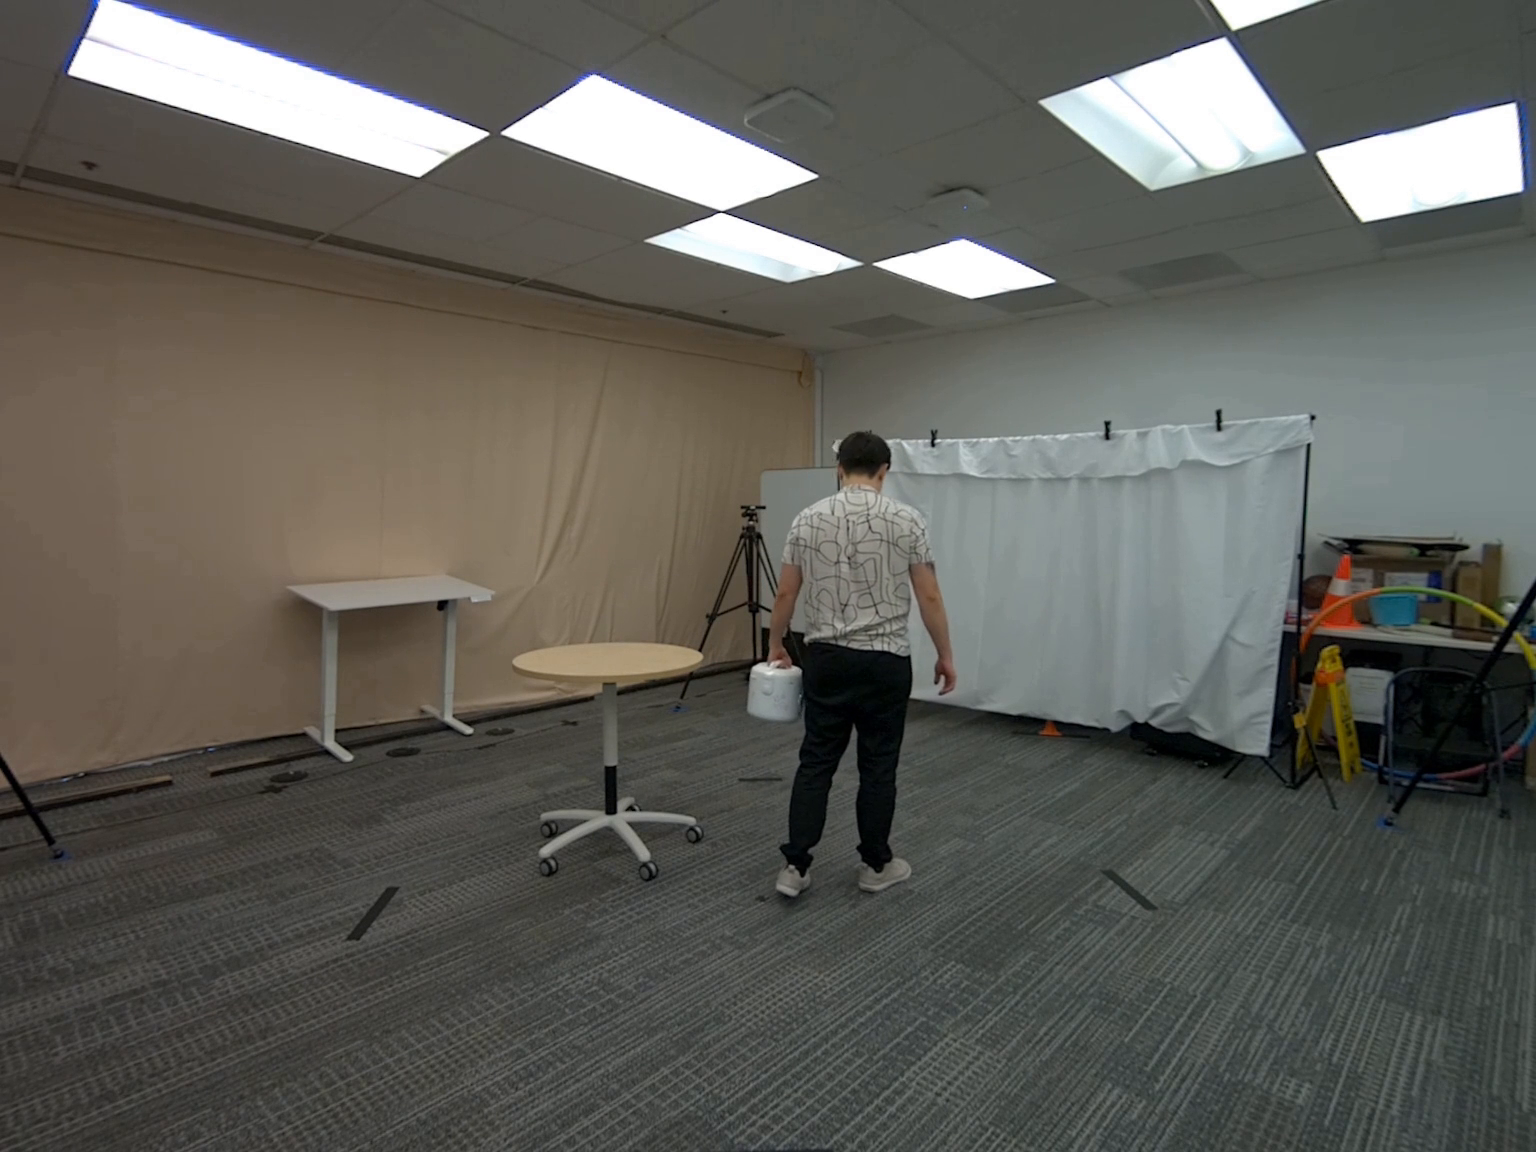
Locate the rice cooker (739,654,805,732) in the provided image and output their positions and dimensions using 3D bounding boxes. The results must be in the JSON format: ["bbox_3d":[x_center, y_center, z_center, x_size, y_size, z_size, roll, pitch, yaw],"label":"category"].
[{"bbox_3d":[0.045,0.436,3.222,0.223,0.233,0.215,6,1,24],"label":"rice cooker"}]
